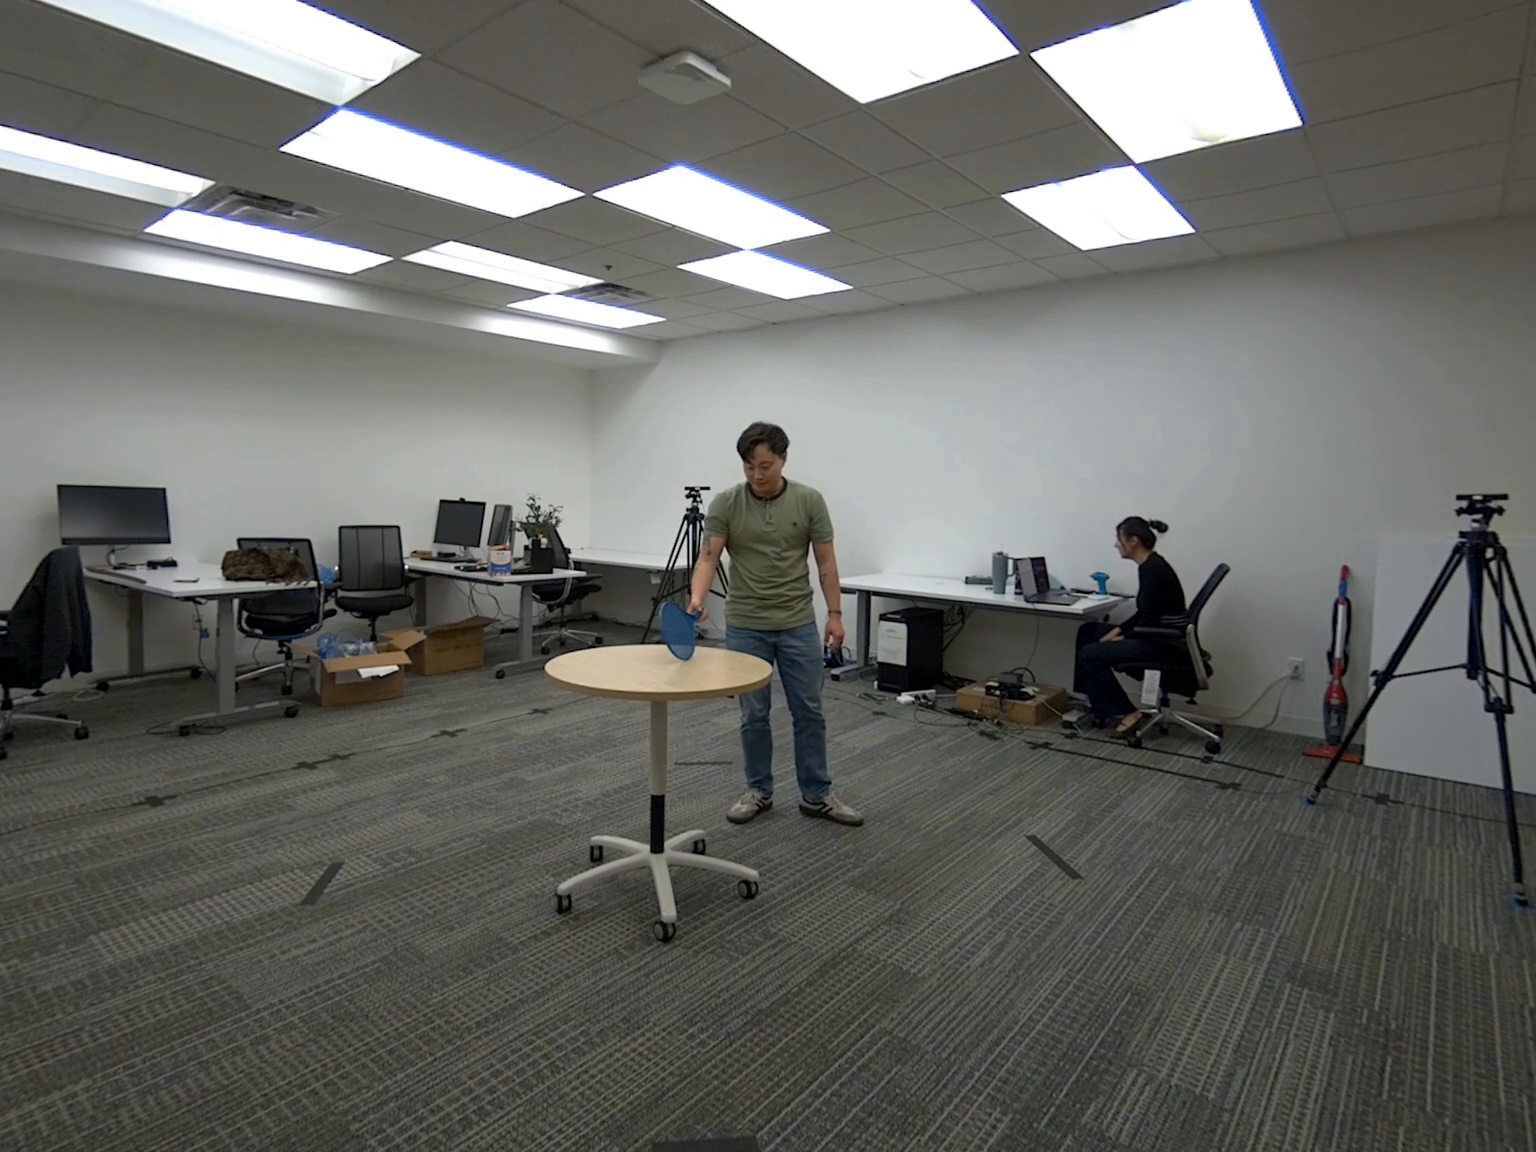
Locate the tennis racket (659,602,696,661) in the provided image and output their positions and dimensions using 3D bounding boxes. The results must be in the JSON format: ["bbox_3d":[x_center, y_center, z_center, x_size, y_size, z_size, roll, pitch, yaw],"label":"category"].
[{"bbox_3d":[-0.311,0.176,3.079,0.032,0.213,0.430,-20,4,15],"label":"tennis racket"}]
